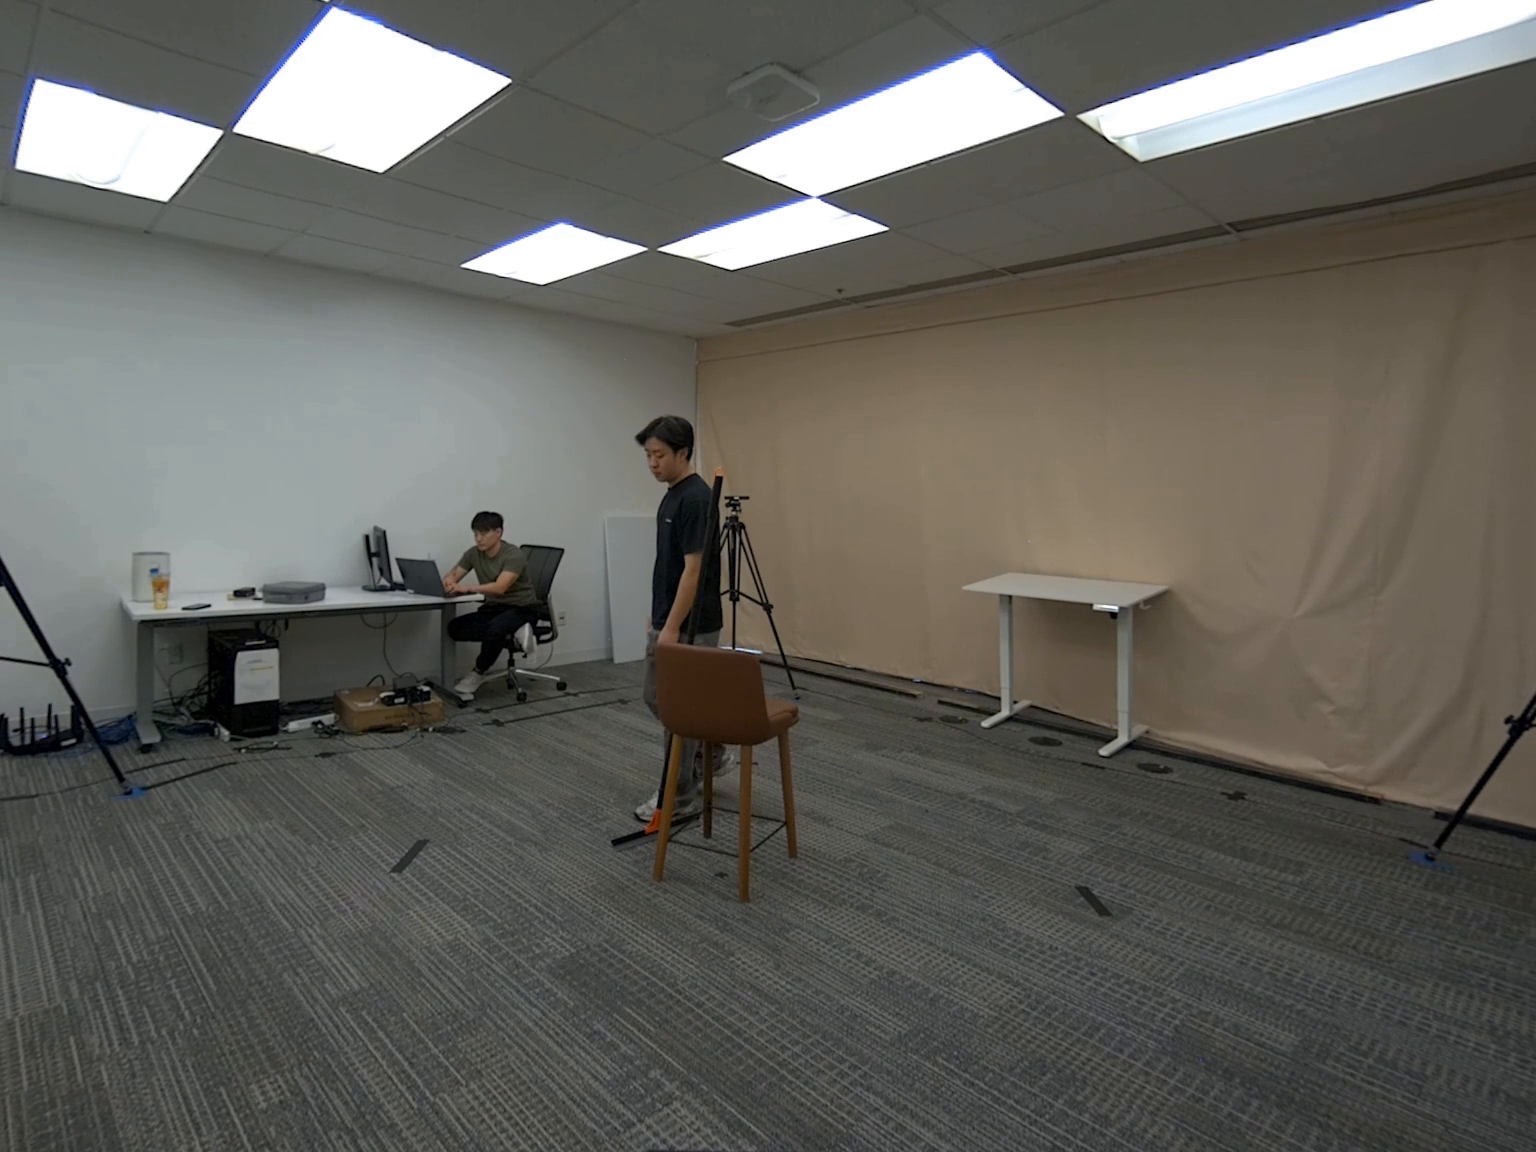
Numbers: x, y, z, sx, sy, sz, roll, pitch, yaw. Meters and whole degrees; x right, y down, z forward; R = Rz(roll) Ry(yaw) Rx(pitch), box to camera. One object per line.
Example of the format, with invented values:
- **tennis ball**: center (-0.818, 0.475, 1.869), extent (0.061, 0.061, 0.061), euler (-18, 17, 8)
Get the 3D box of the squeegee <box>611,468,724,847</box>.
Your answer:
- **squeegee**: center (-0.326, 0.339, 3.249), extent (0.428, 1.524, 0.054), euler (-5, 22, -44)
